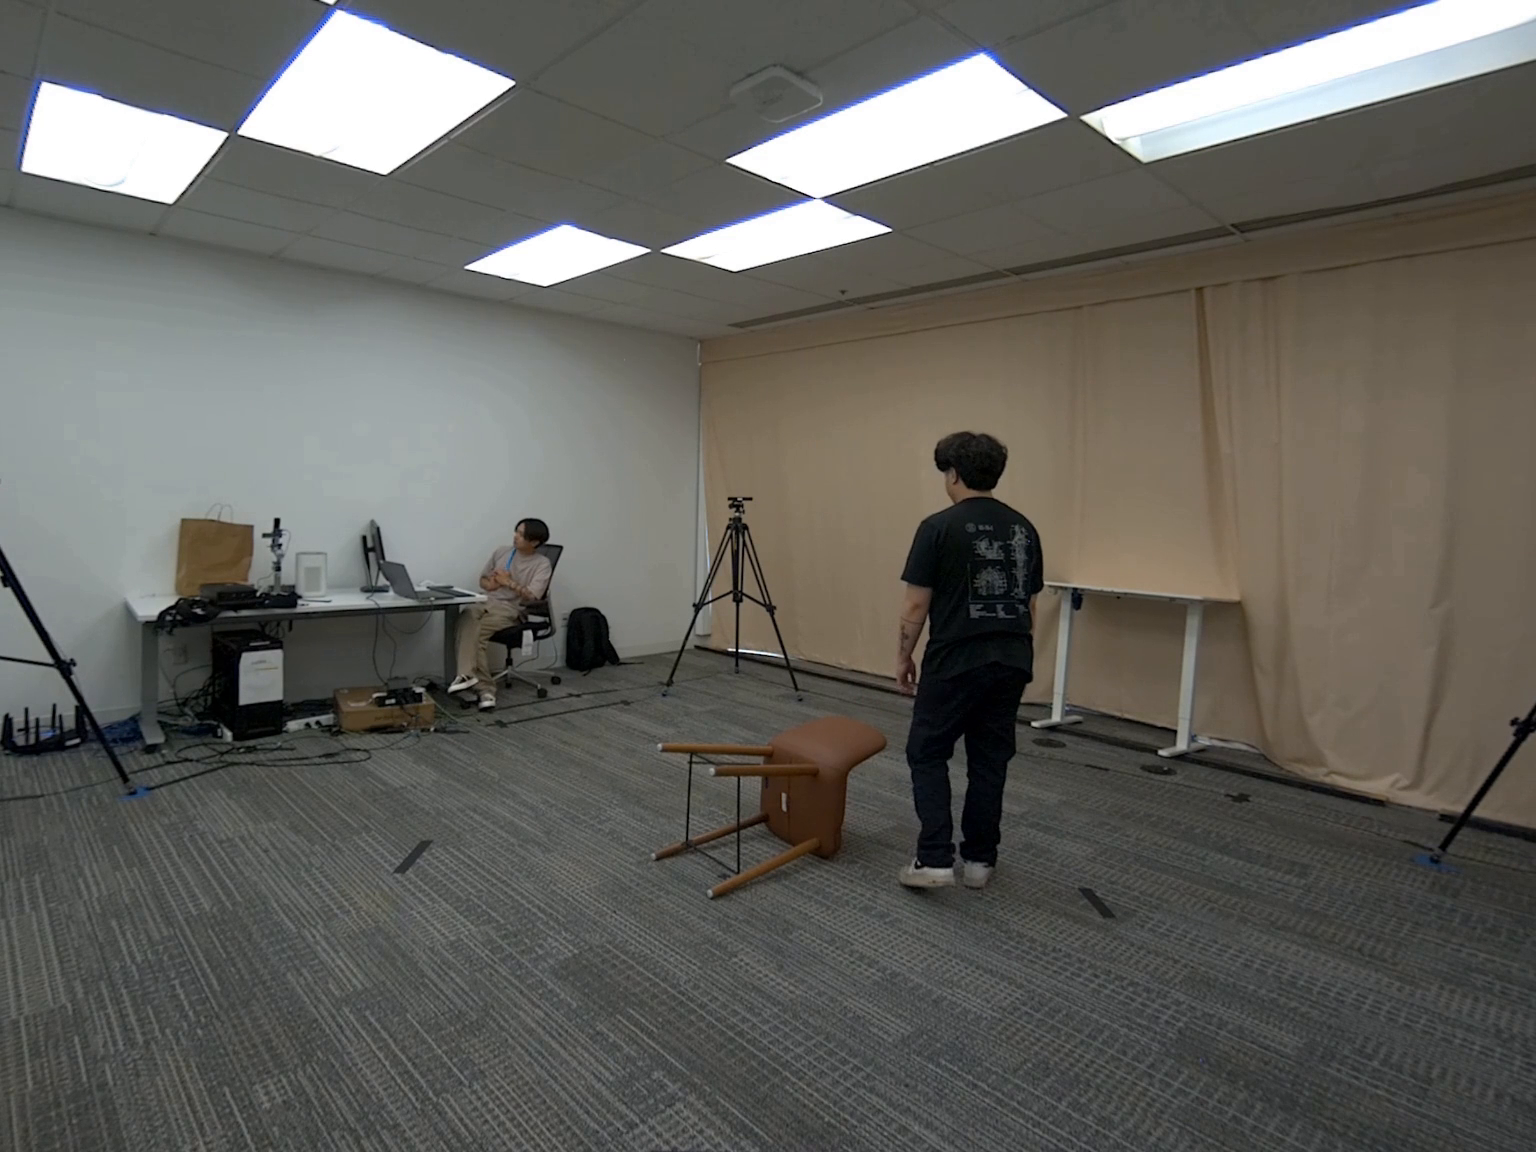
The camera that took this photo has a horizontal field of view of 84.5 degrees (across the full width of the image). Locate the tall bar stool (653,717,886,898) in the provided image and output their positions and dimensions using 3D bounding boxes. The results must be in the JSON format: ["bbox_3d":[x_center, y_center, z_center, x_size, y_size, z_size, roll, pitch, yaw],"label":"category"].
[{"bbox_3d":[0.021,0.863,3.324,0.870,0.466,0.468,-4,5,-38],"label":"tall bar stool"}]
